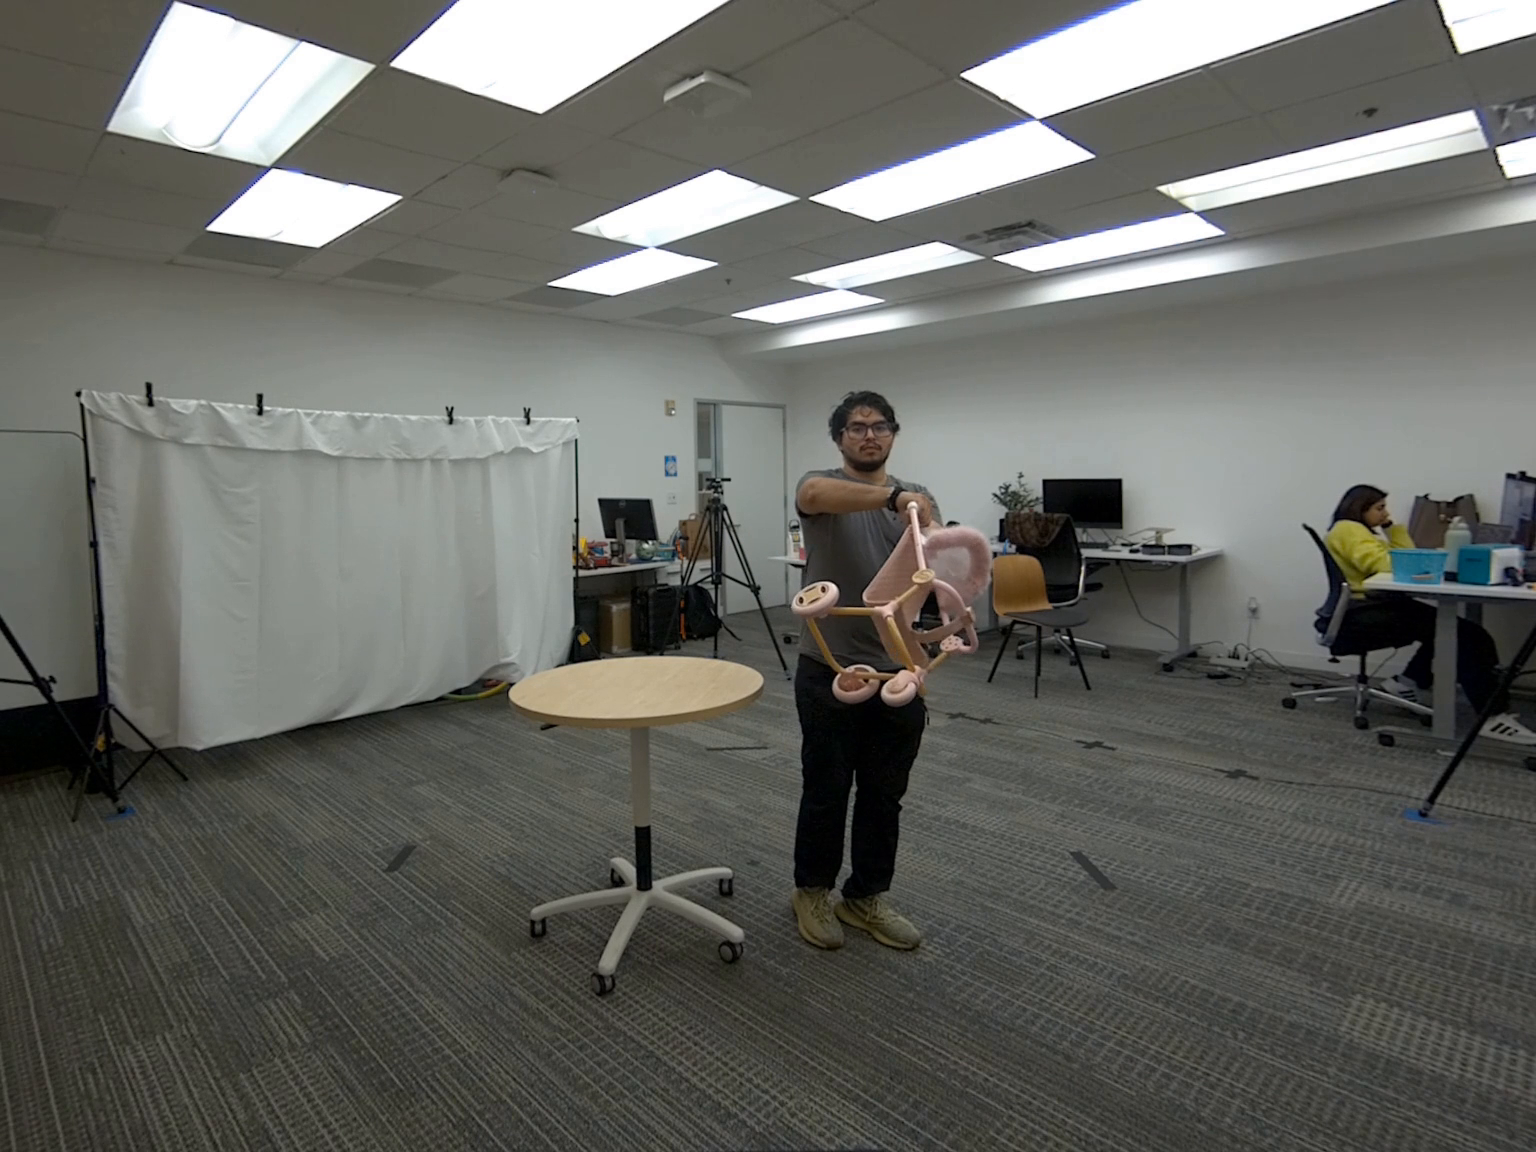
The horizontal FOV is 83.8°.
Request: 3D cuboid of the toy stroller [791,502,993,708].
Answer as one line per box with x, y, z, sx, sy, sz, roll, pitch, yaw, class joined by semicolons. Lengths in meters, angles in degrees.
0.322;0.070;1.880;0.533;0.274;0.351;-43;26;-26;toy stroller
